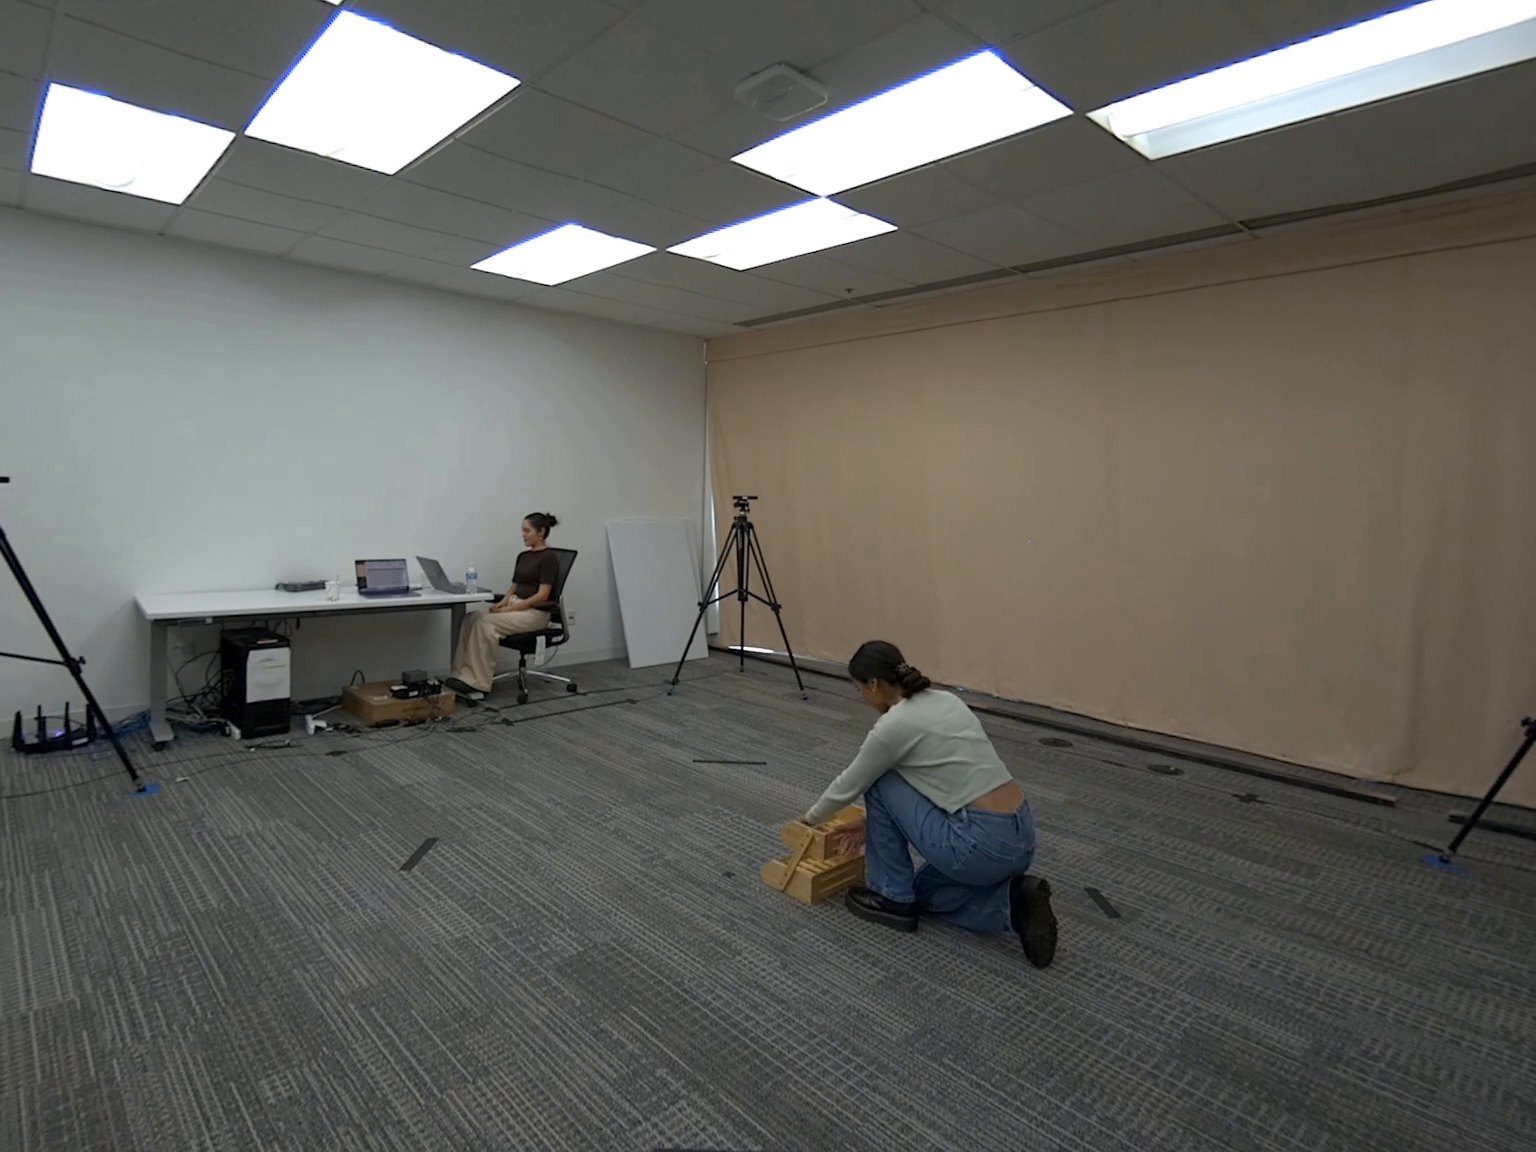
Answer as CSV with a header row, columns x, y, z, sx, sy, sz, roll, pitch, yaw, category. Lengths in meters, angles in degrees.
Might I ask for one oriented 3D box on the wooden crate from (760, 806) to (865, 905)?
x,y,z,sx,sy,sz,roll,pitch,yaw,category
0.175,0.975,3.058,0.310,0.272,0.317,6,6,44,wooden crate
